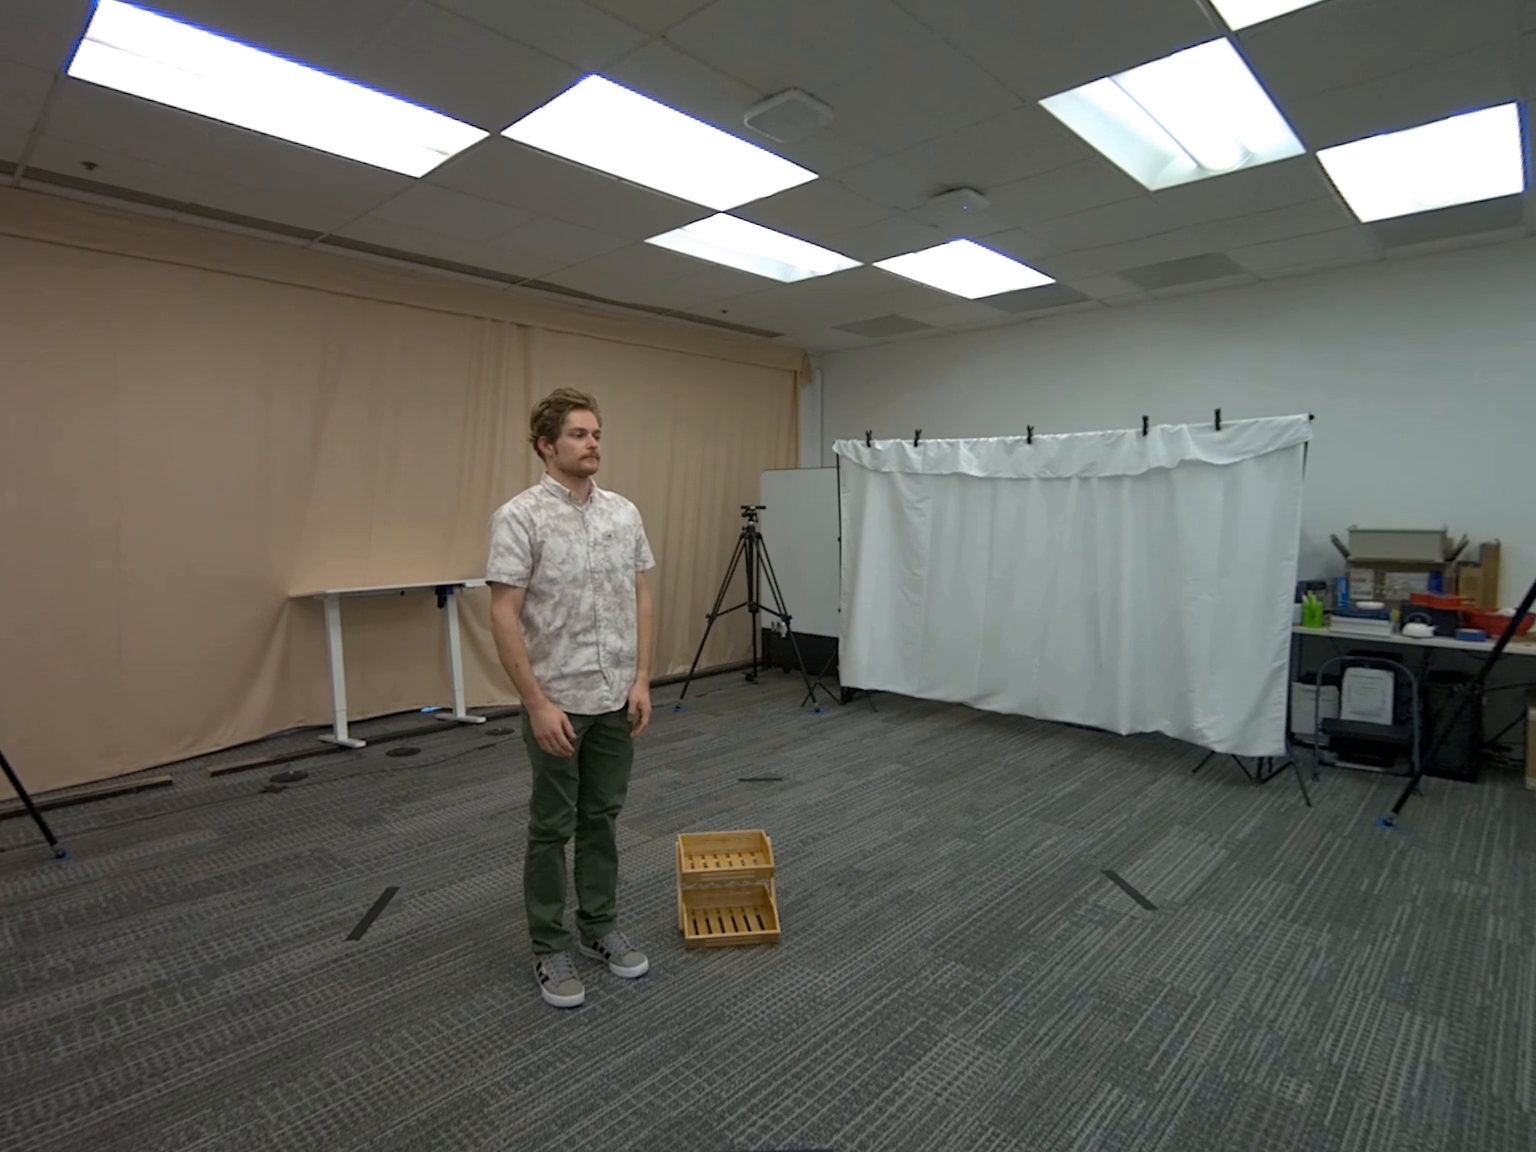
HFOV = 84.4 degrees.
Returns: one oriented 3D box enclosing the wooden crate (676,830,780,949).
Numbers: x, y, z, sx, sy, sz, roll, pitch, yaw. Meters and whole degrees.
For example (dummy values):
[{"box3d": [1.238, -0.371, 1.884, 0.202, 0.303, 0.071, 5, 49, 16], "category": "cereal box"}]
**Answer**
[{"box3d": [-0.137, 1.030, 2.774, 0.322, 0.272, 0.305, -1, 4, -9], "category": "wooden crate"}]
